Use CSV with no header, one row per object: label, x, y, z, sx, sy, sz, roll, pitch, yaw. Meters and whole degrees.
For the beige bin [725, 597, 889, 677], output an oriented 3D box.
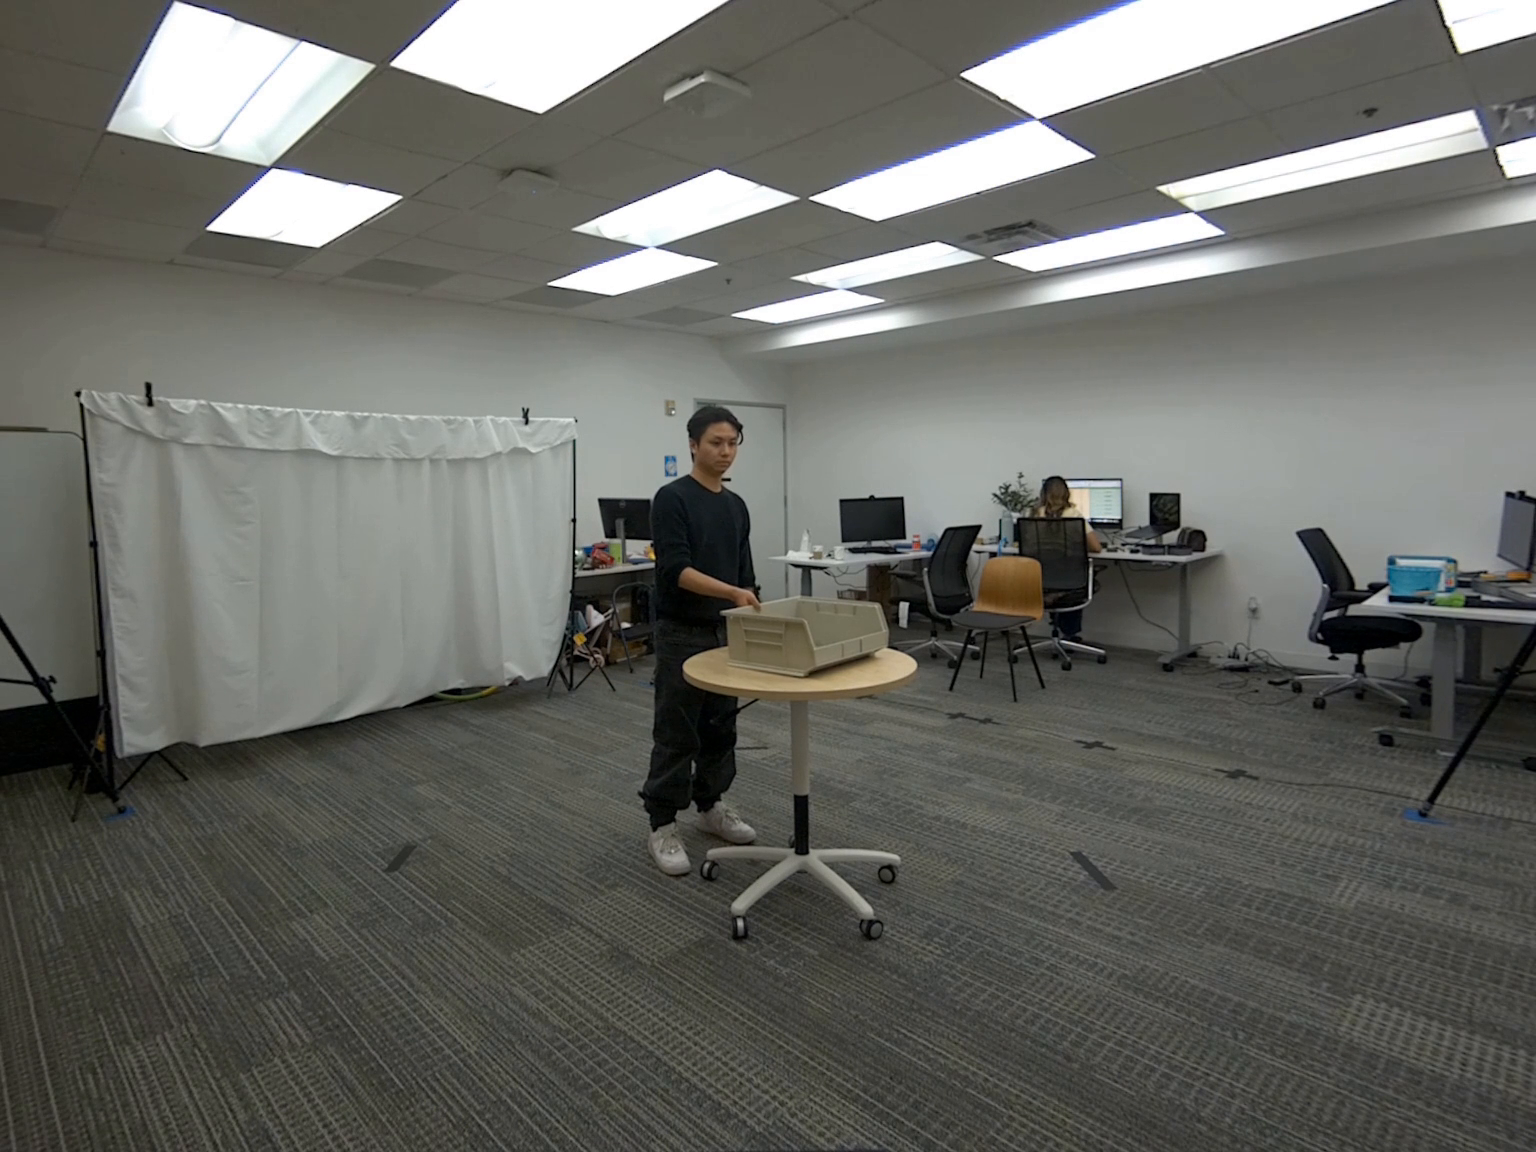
beige bin,0.125,0.193,2.838,0.388,0.188,0.411,2,6,41
